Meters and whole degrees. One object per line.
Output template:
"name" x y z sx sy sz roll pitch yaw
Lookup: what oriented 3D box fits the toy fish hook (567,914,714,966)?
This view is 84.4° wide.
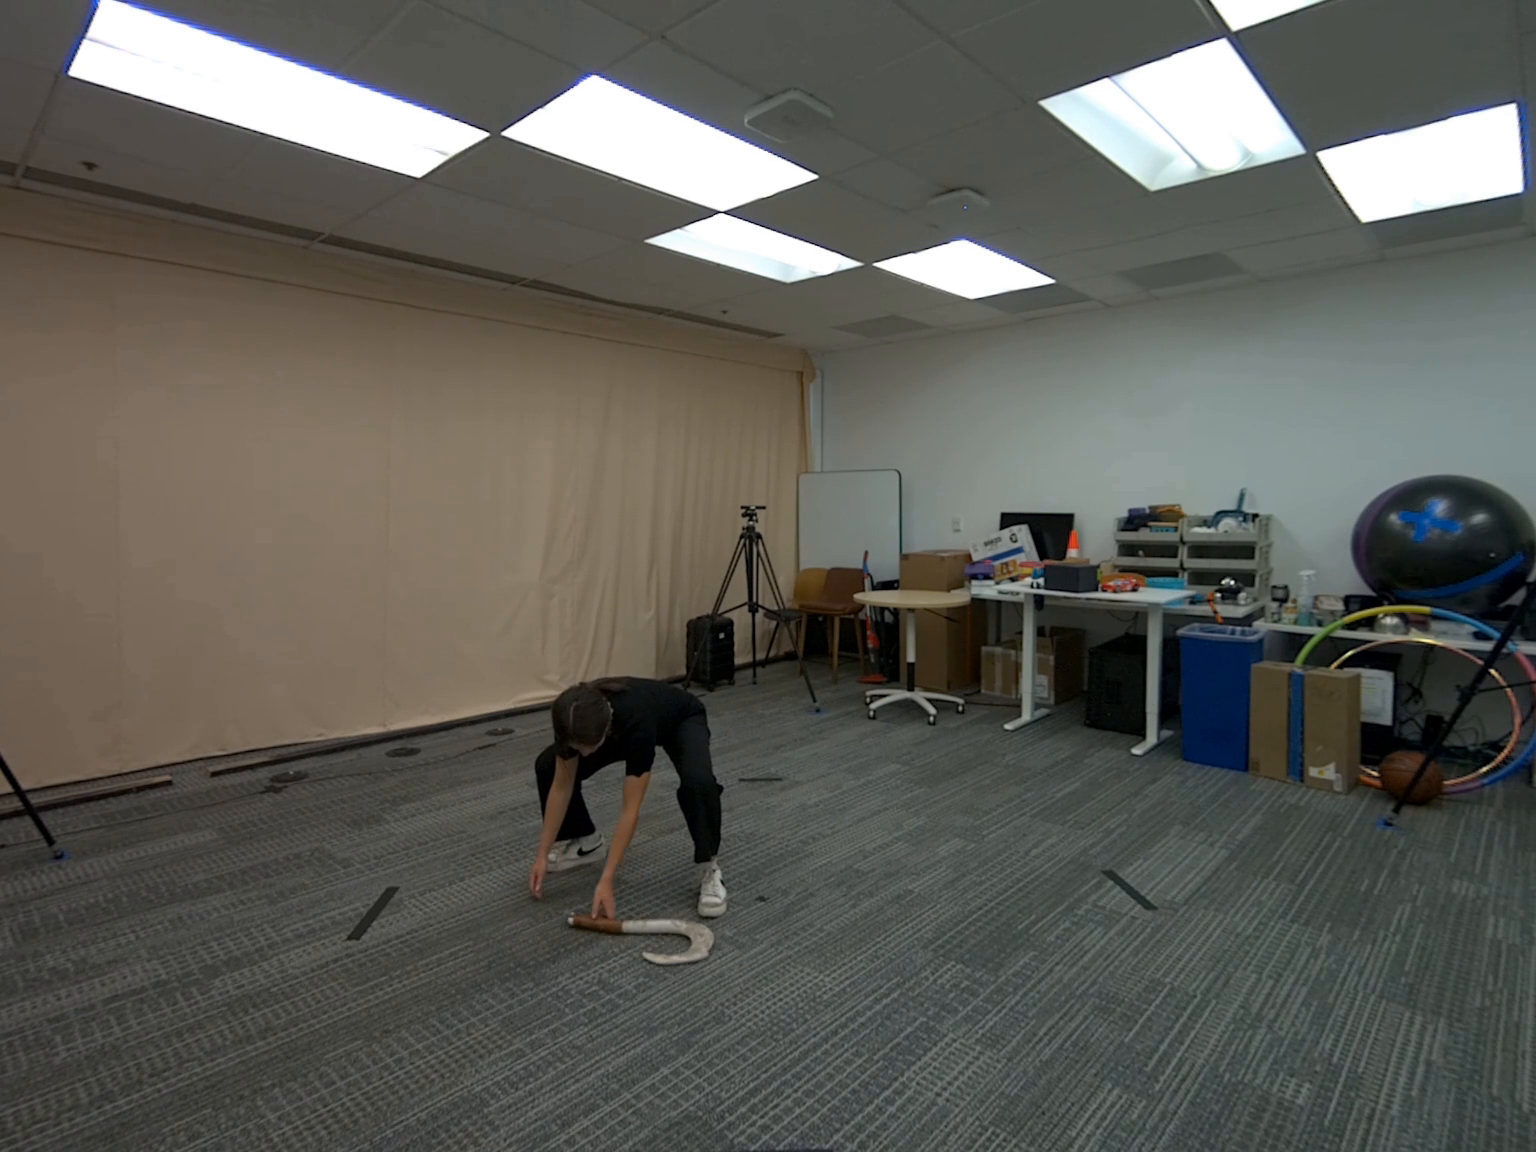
"toy fish hook" -0.429 1.150 2.685 0.514 0.048 0.221 0 4 14
